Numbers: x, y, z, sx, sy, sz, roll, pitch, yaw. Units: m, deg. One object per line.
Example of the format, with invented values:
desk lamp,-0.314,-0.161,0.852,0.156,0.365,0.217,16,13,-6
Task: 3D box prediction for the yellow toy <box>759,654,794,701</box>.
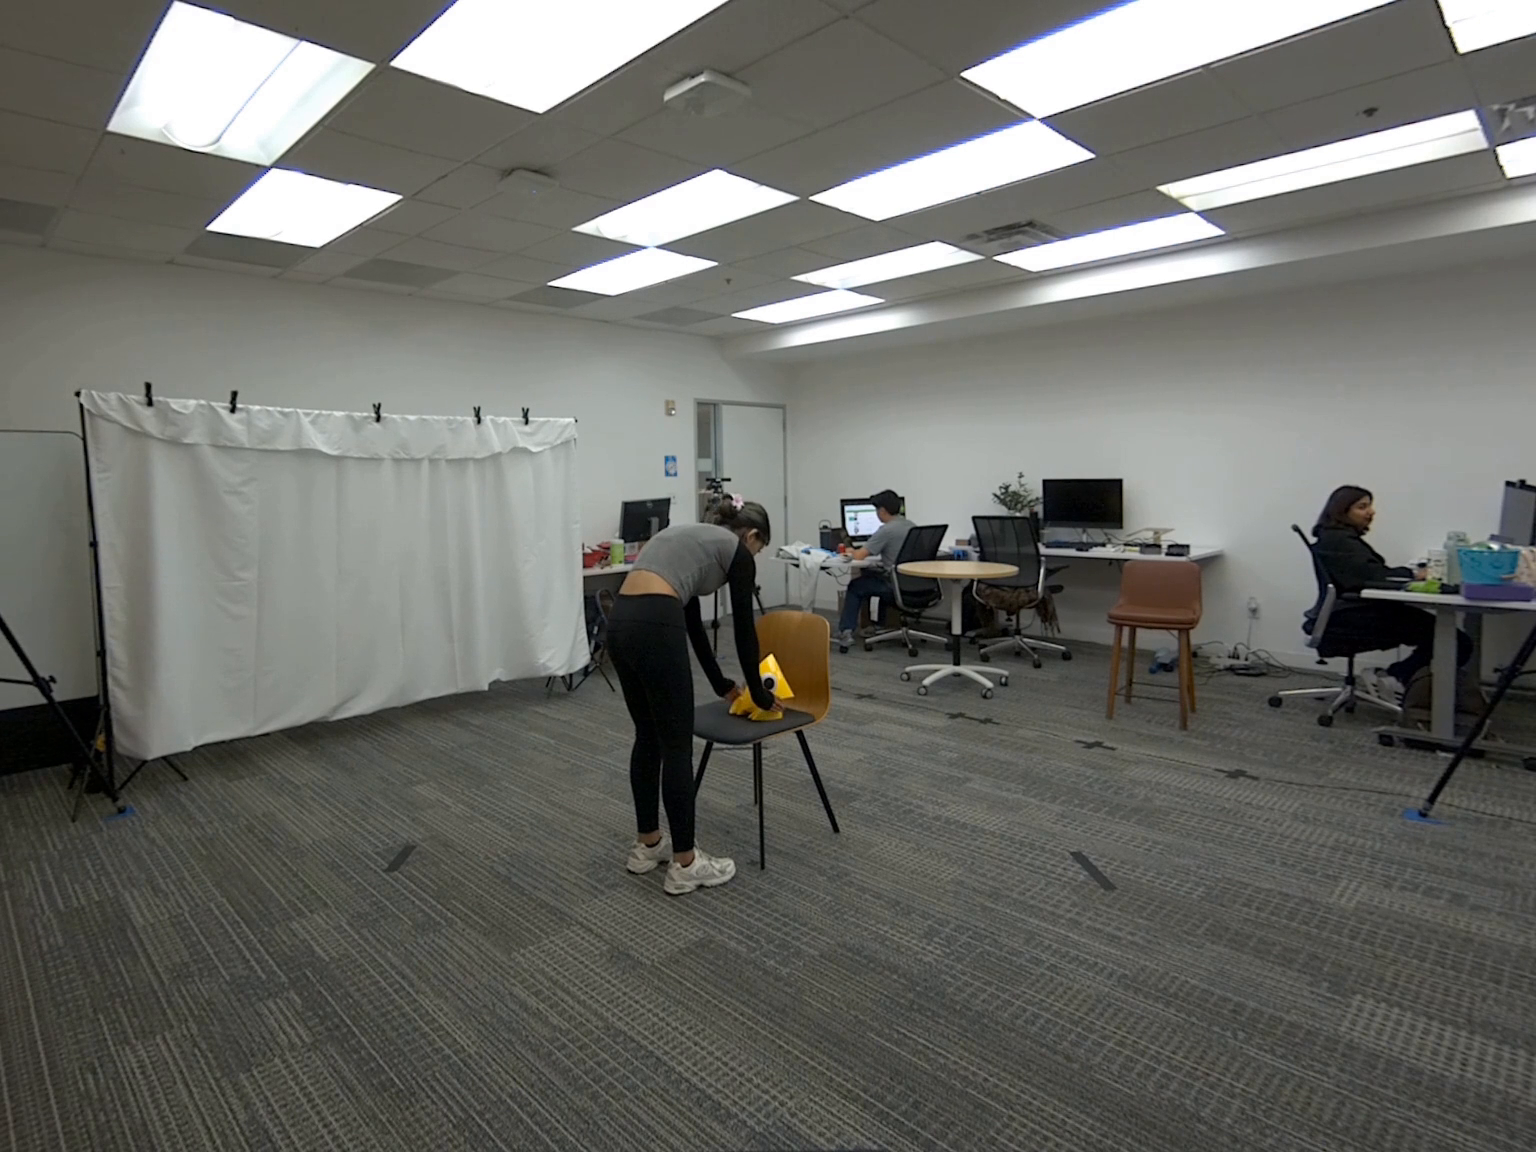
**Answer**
yellow toy,-0.035,0.433,3.339,0.187,0.230,0.211,3,1,-42
